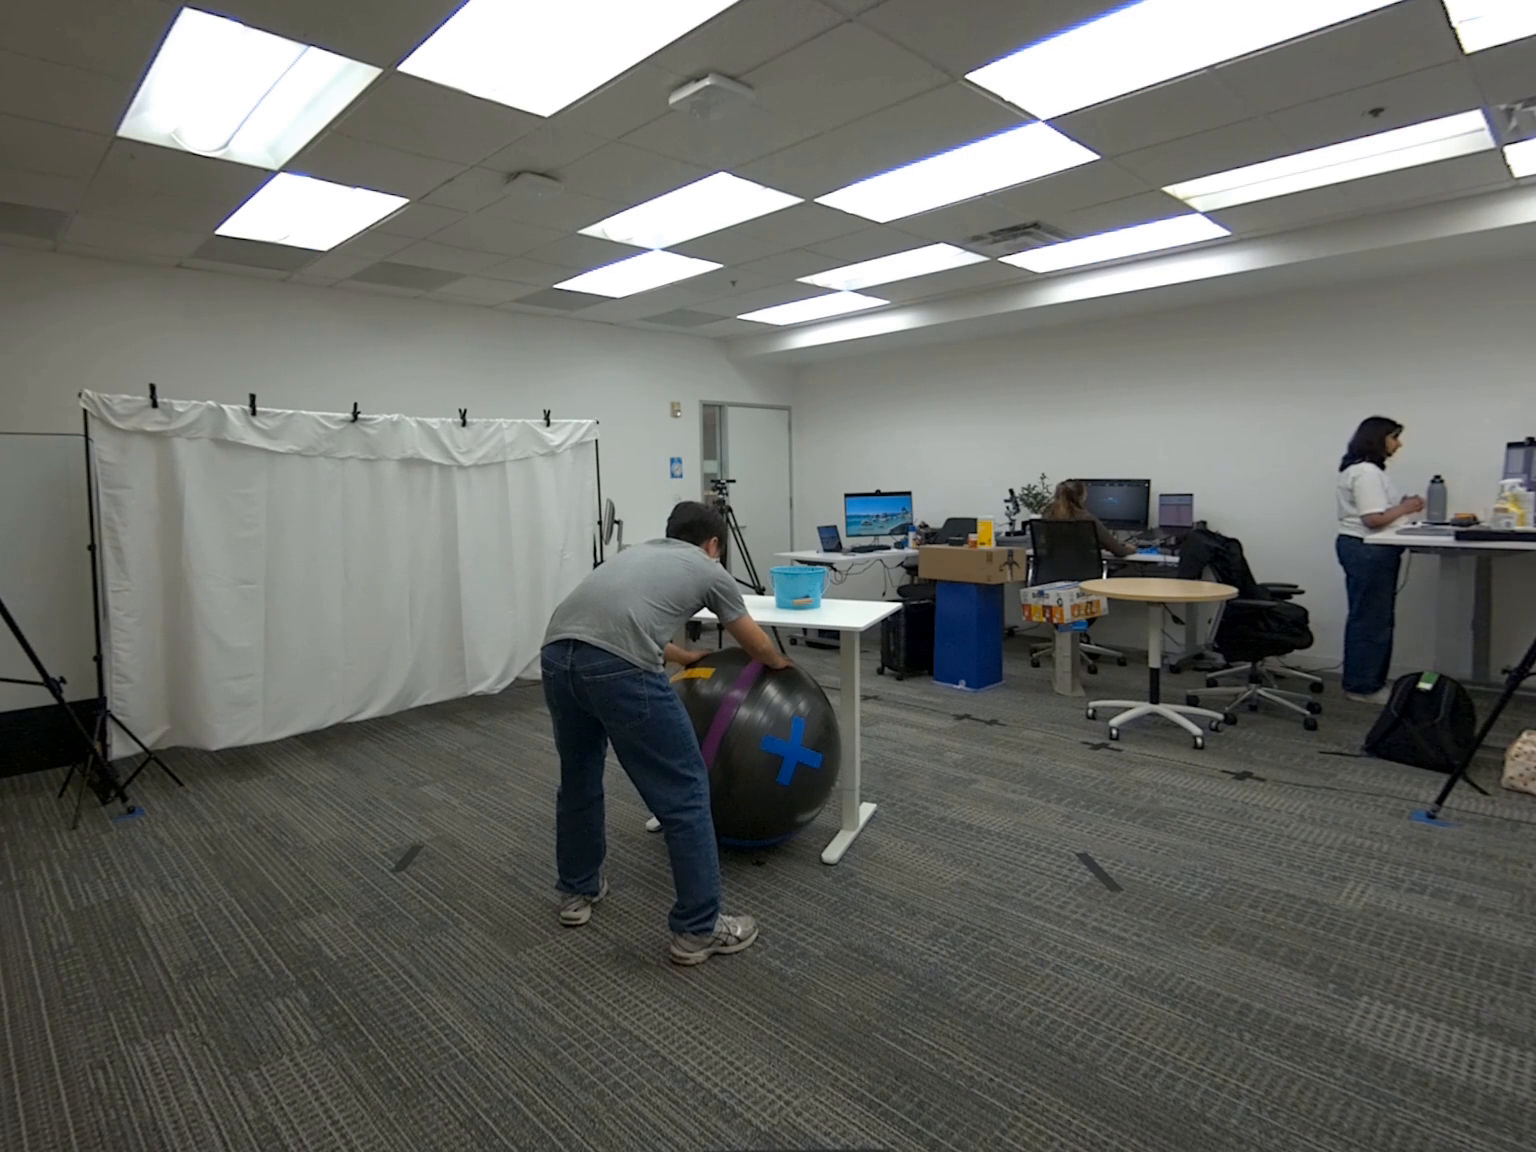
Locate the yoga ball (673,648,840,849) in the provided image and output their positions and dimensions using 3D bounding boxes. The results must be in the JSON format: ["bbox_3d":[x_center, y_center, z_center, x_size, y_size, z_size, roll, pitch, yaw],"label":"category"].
[{"bbox_3d":[-0.105,0.659,3.293,0.757,0.755,0.762,-1,5,-2],"label":"yoga ball"}]
